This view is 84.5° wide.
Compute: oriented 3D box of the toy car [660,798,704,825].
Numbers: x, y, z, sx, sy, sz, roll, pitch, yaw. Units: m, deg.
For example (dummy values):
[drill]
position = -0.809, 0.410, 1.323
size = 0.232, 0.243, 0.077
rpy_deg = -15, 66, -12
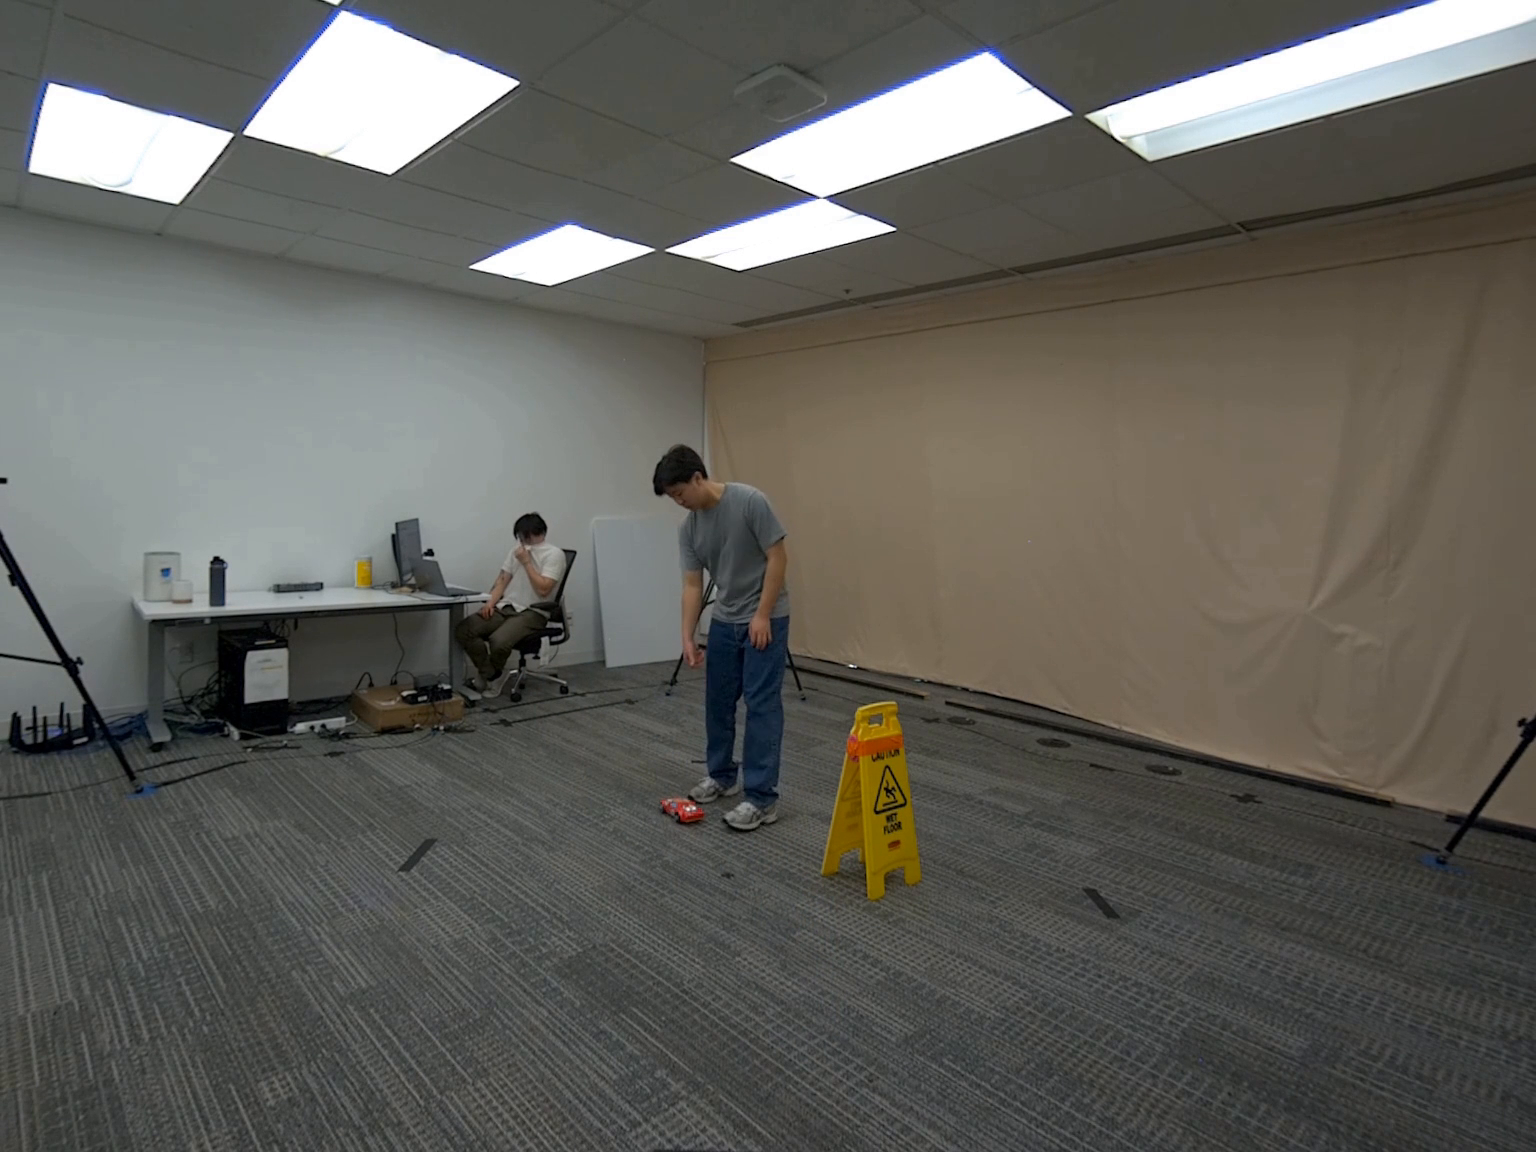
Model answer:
[toy car]
position = -0.380, 1.020, 3.659
size = 0.127, 0.083, 0.259
rpy_deg = 0, -6, -34
